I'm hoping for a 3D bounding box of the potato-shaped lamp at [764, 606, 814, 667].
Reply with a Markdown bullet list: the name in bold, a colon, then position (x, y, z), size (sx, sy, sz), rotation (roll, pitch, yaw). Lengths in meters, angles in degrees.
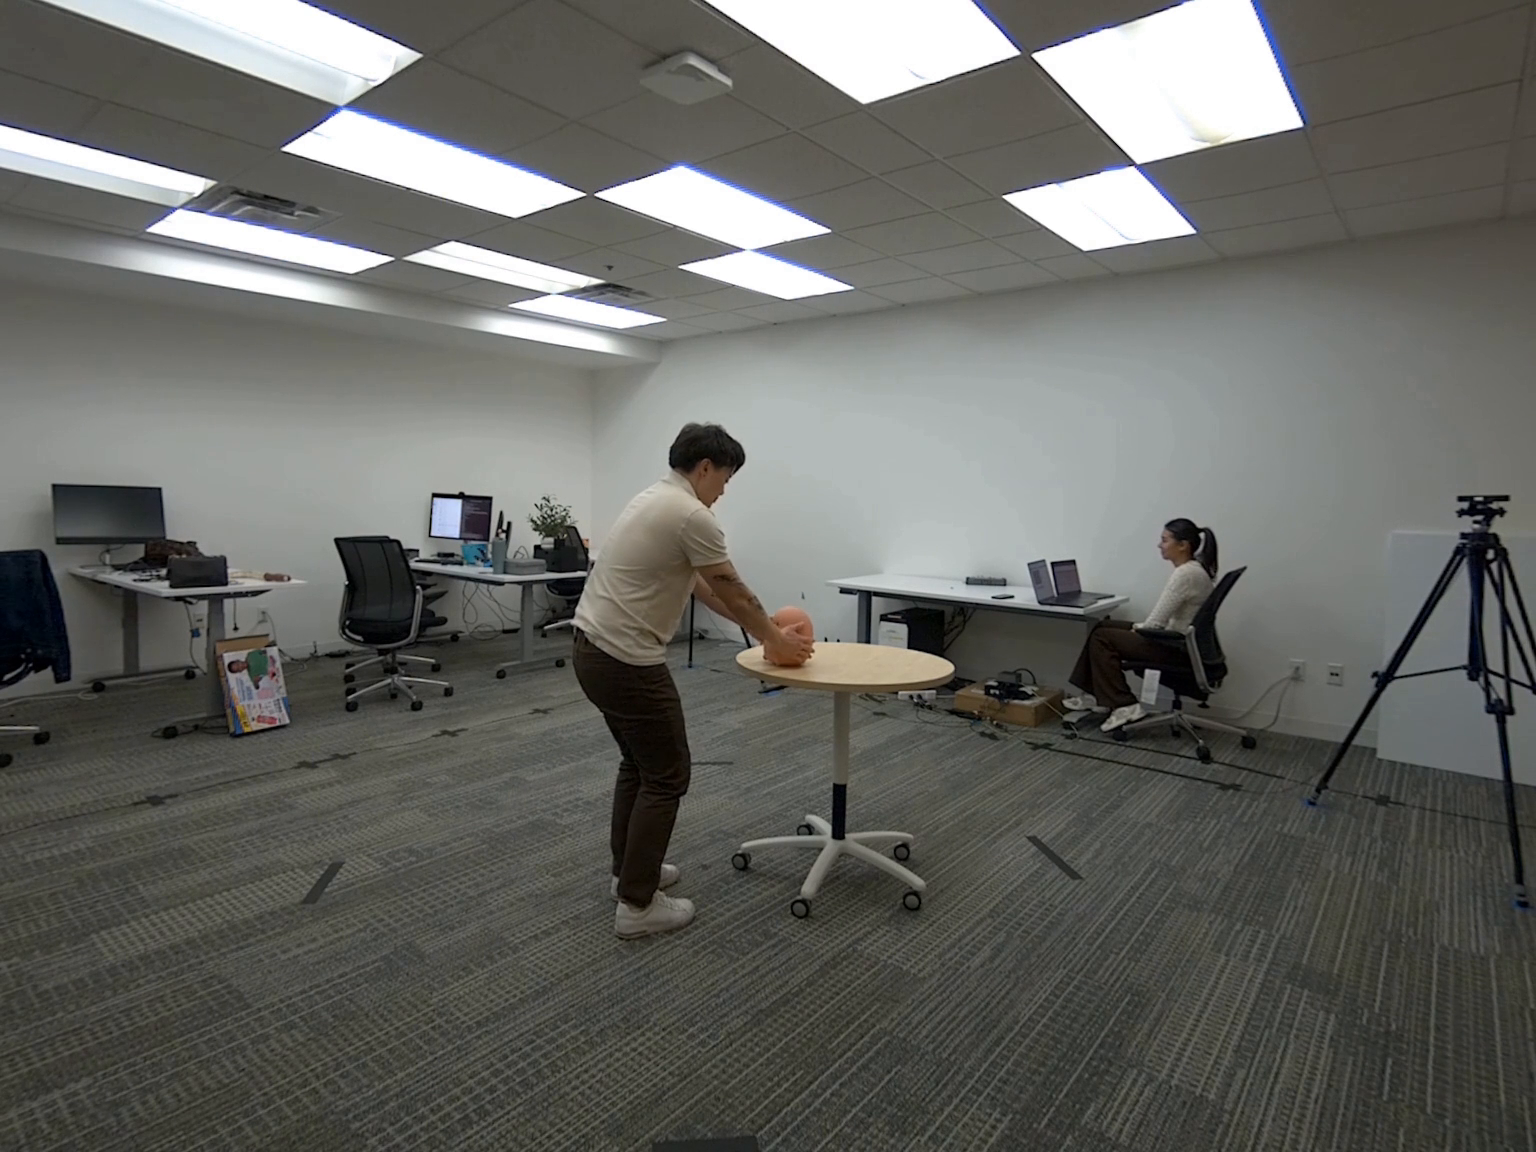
- **potato-shaped lamp**: position (0.069, 0.203, 2.965), size (0.168, 0.197, 0.169), rotation (0, 5, -22)
